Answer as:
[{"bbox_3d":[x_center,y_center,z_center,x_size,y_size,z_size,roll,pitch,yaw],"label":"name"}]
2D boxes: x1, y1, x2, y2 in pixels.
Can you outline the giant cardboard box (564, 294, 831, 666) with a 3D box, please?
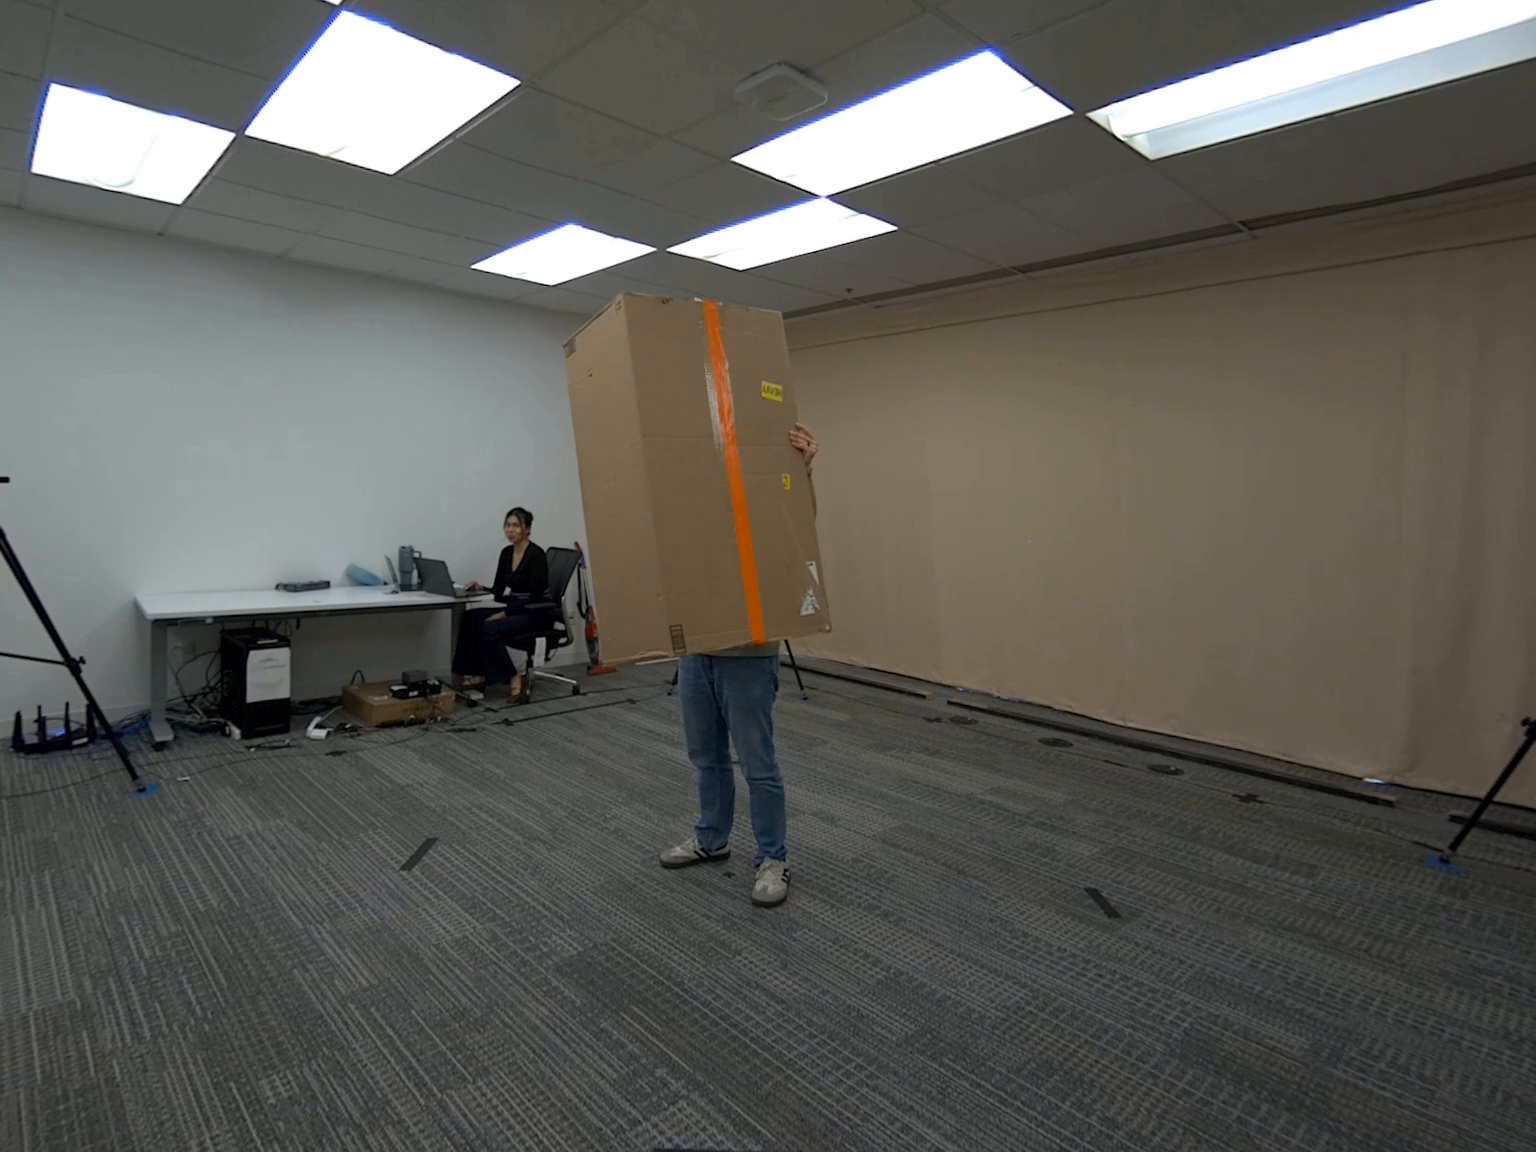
[{"bbox_3d":[-0.232,-0.283,2.605,0.565,1.031,0.433,-4,-8,-36],"label":"giant cardboard box"}]
